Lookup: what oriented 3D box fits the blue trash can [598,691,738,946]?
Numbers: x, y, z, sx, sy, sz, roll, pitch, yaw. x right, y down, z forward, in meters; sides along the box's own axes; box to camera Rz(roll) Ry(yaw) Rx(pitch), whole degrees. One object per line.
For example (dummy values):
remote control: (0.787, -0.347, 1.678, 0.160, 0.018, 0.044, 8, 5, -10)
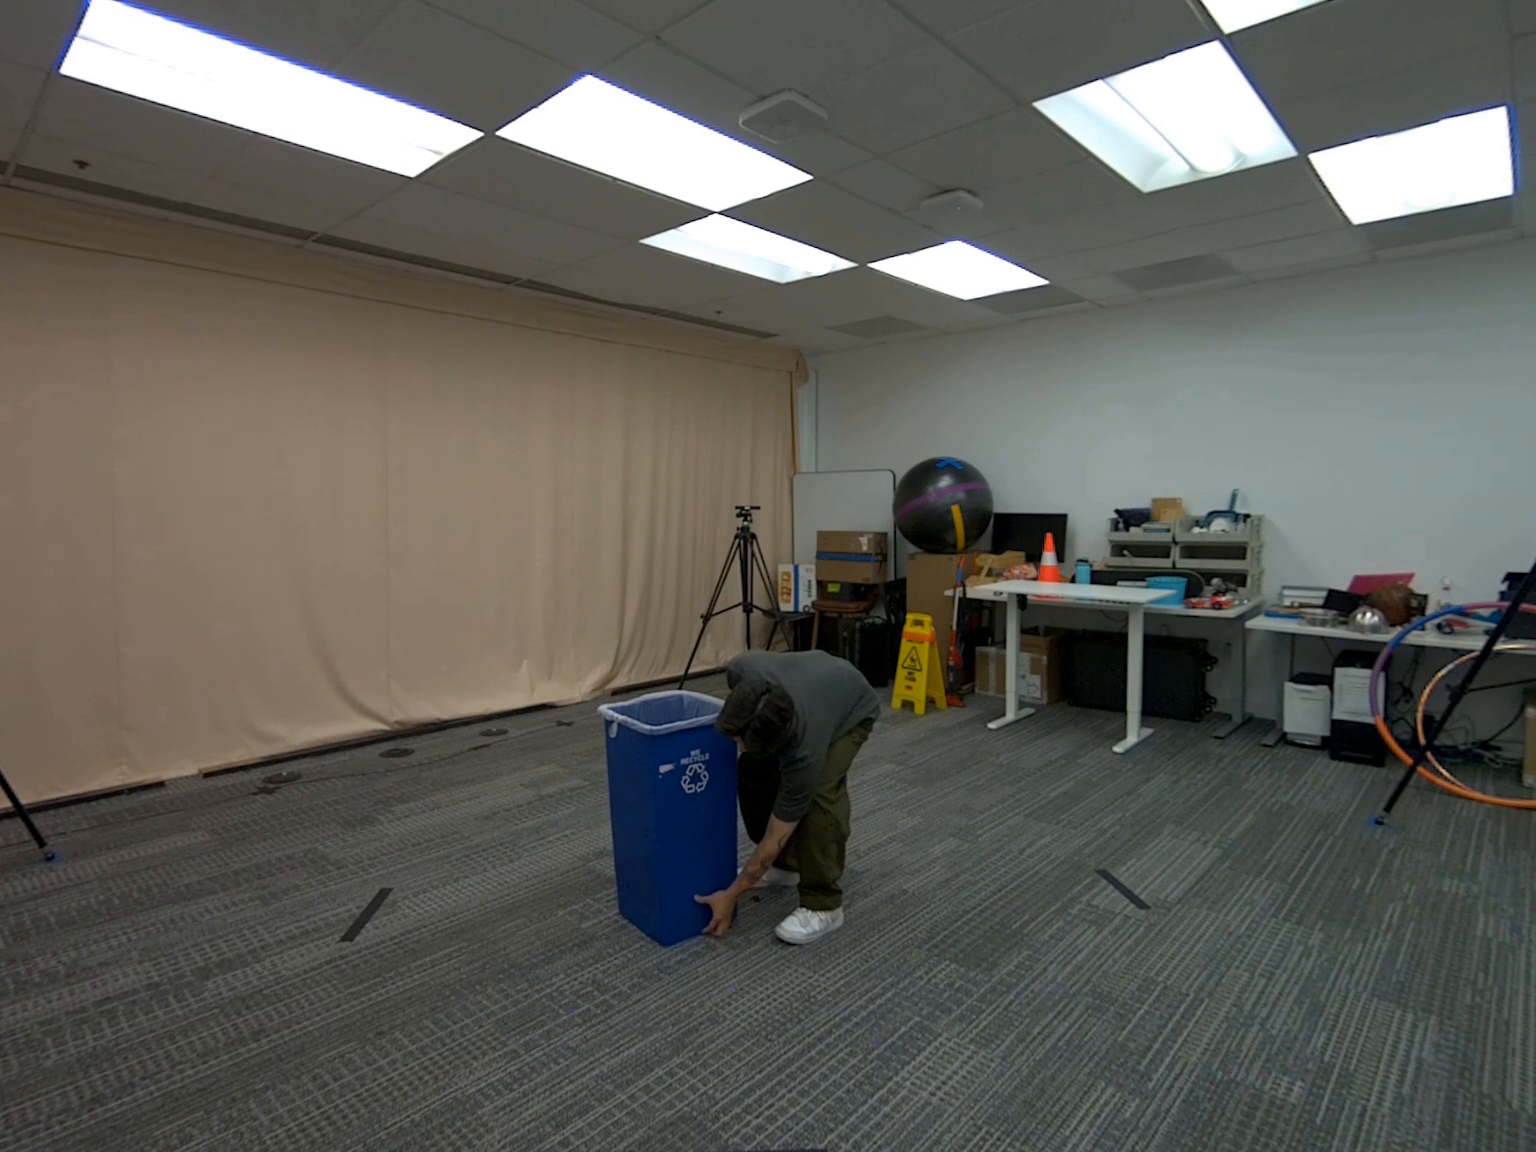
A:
blue trash can: (-0.327, 0.800, 2.844, 0.367, 0.712, 0.386, -4, 5, -40)
